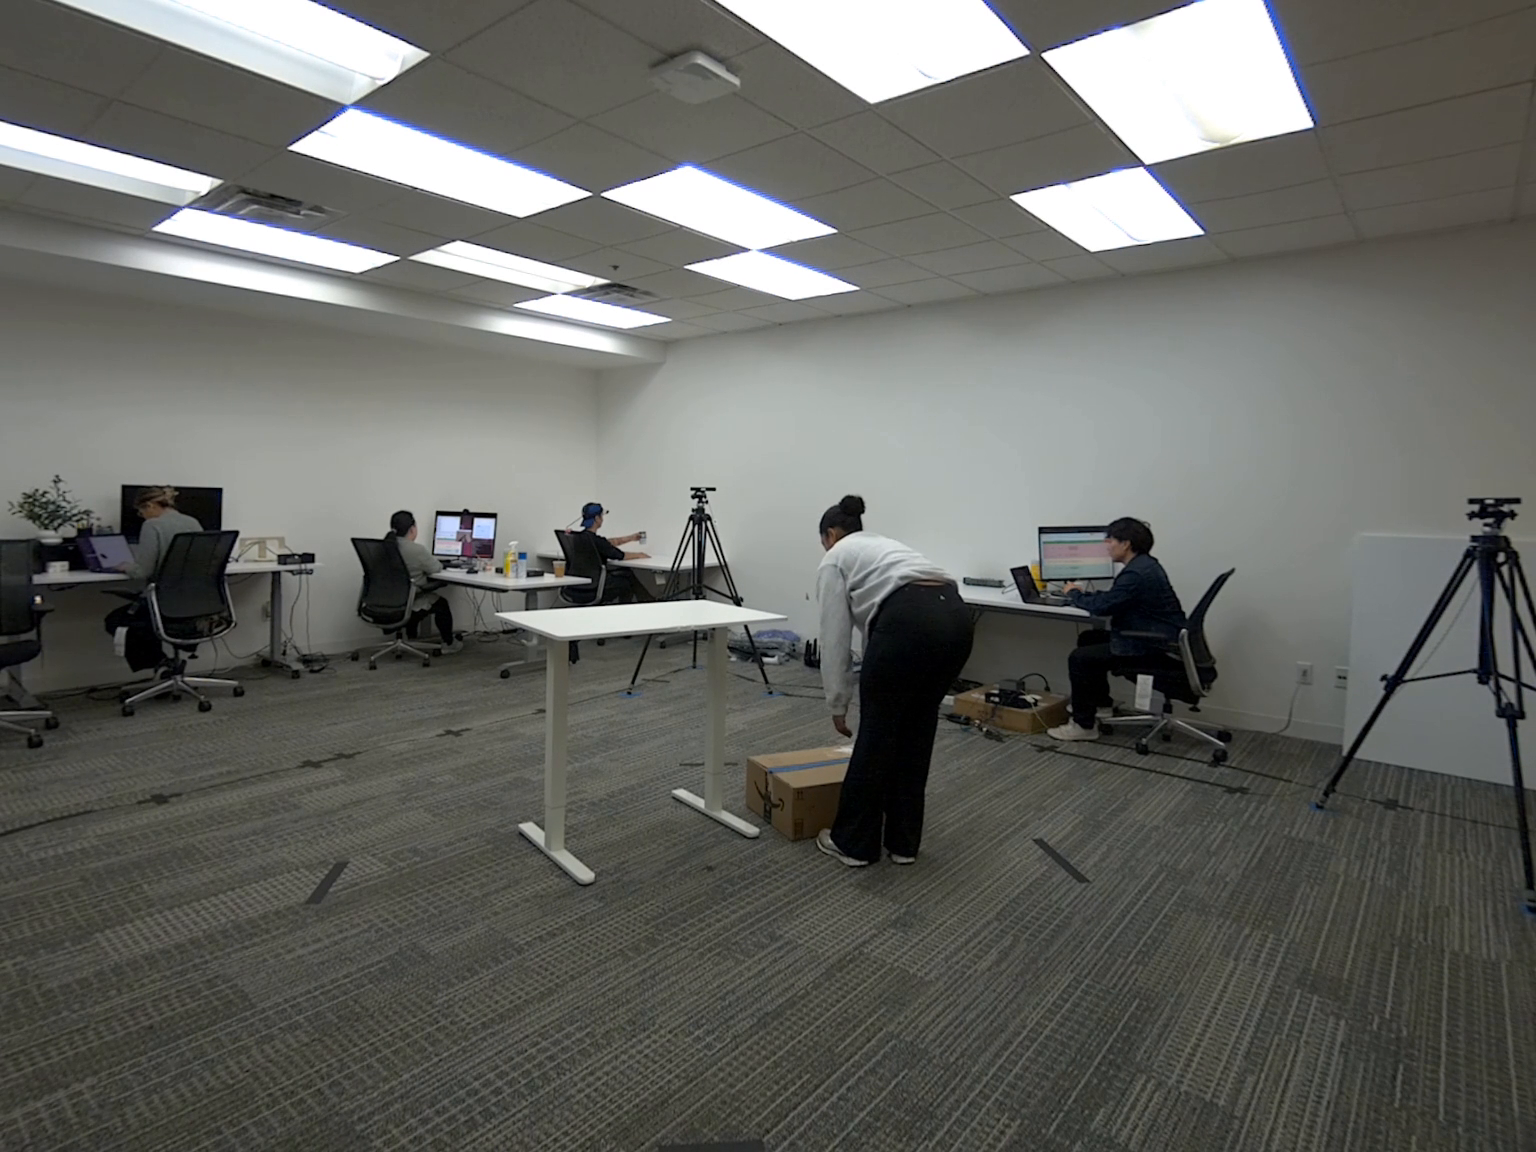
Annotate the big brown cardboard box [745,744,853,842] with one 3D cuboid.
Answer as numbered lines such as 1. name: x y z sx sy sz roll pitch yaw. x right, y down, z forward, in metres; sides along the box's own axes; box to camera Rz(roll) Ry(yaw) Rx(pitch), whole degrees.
1. big brown cardboard box: 0.240 0.911 3.667 0.575 0.232 0.430 -2 6 -27
